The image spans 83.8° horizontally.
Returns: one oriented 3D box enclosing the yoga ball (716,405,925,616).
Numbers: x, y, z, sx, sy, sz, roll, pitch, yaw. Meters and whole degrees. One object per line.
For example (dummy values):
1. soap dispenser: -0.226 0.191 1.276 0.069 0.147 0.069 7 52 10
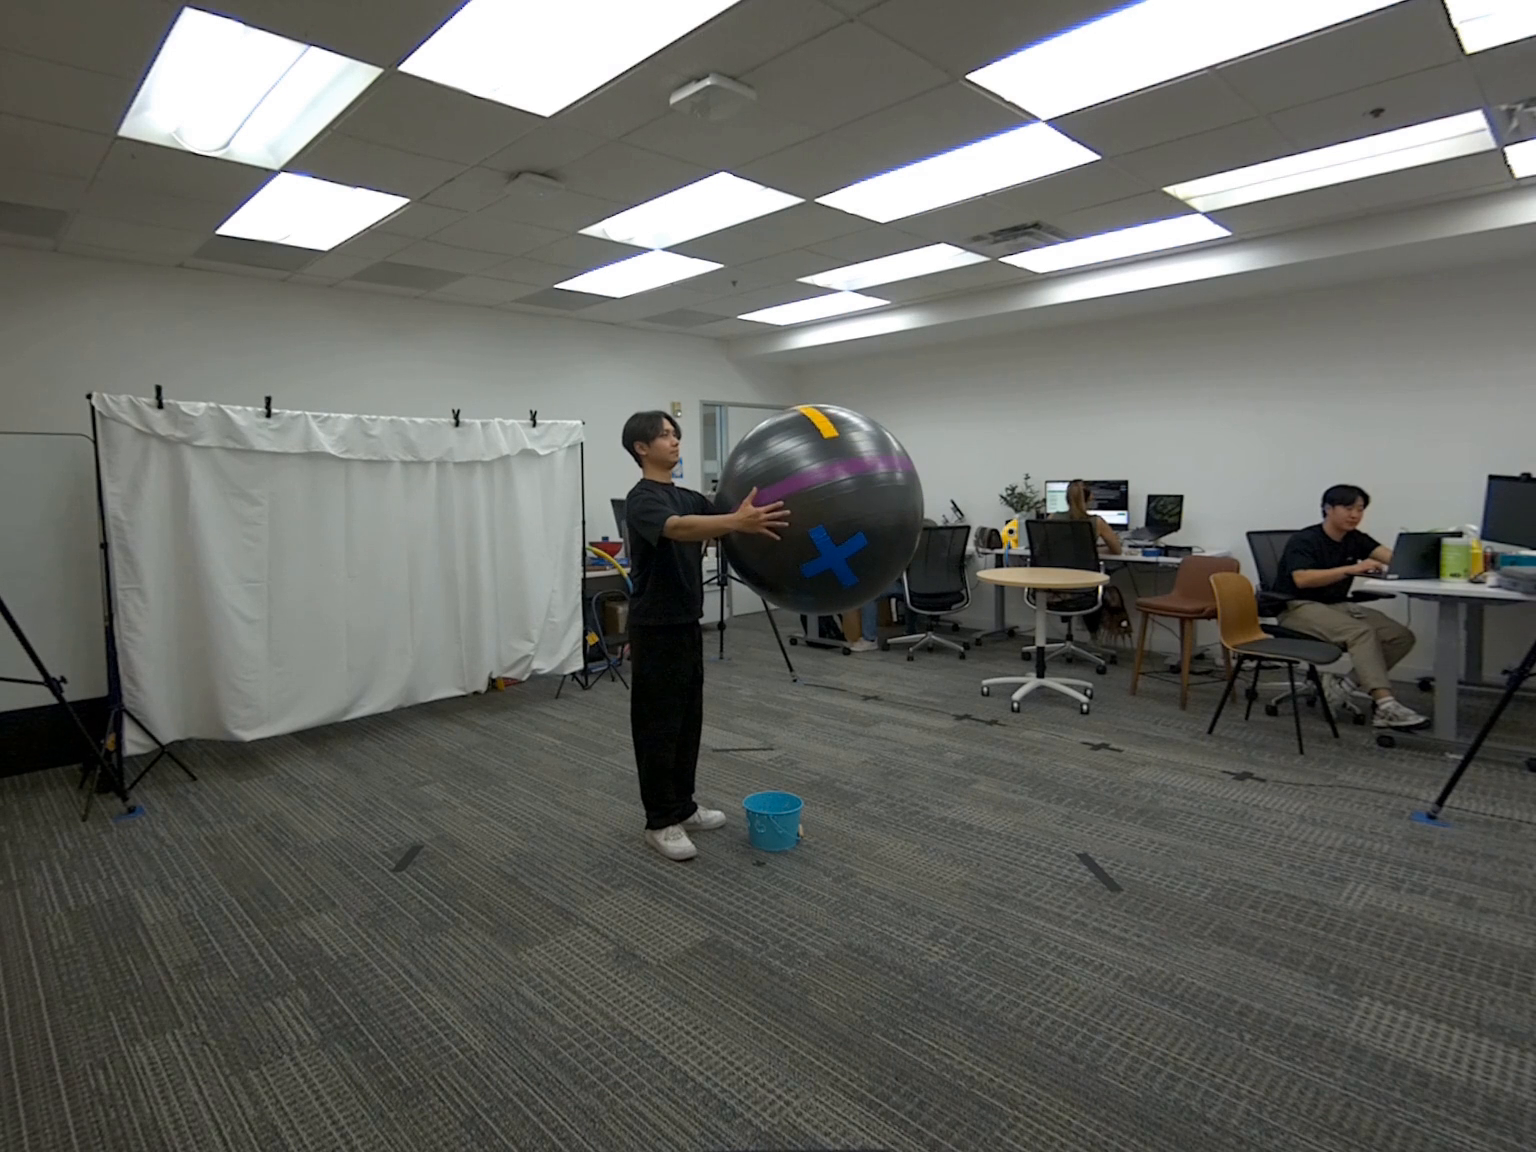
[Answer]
1. yoga ball: 0.182 -0.236 3.116 0.757 0.755 0.762 -1 5 -2
